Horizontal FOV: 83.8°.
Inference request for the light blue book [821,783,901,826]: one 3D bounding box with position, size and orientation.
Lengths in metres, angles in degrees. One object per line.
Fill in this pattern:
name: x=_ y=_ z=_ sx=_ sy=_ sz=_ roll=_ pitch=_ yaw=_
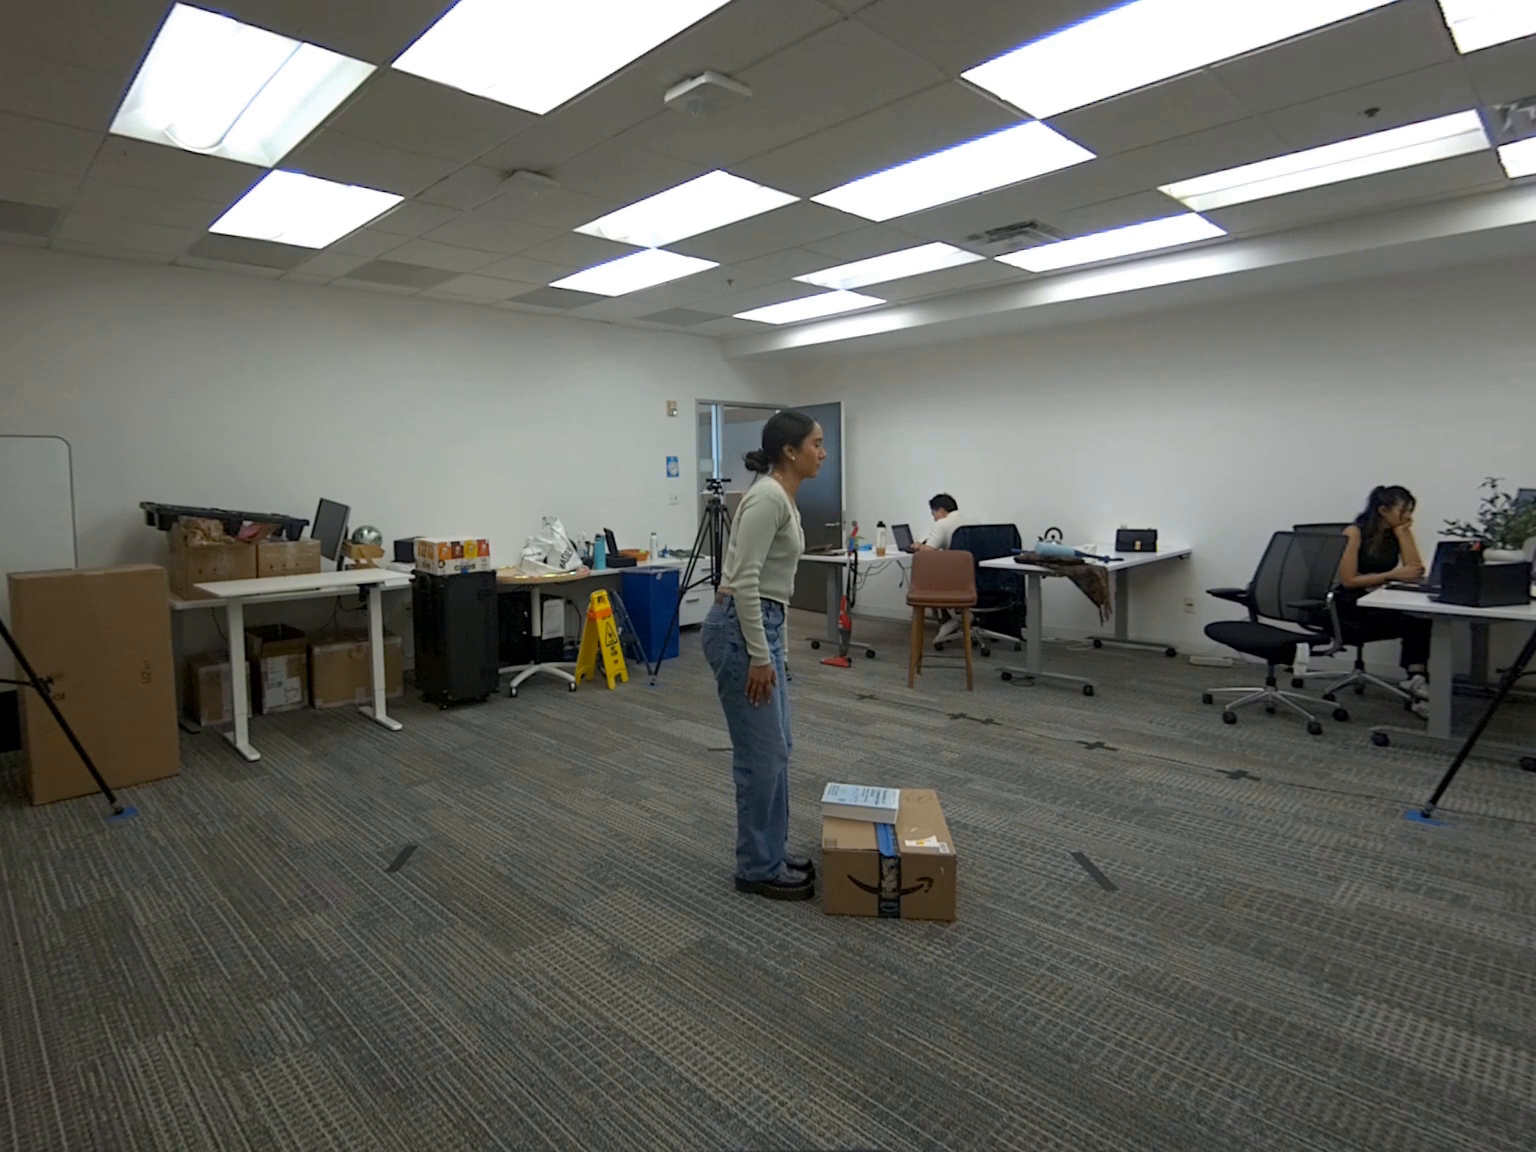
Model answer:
light blue book: x=0.332 y=0.802 z=3.040 sx=0.265 sy=0.059 sz=0.190 roll=2 pitch=8 yaw=14
